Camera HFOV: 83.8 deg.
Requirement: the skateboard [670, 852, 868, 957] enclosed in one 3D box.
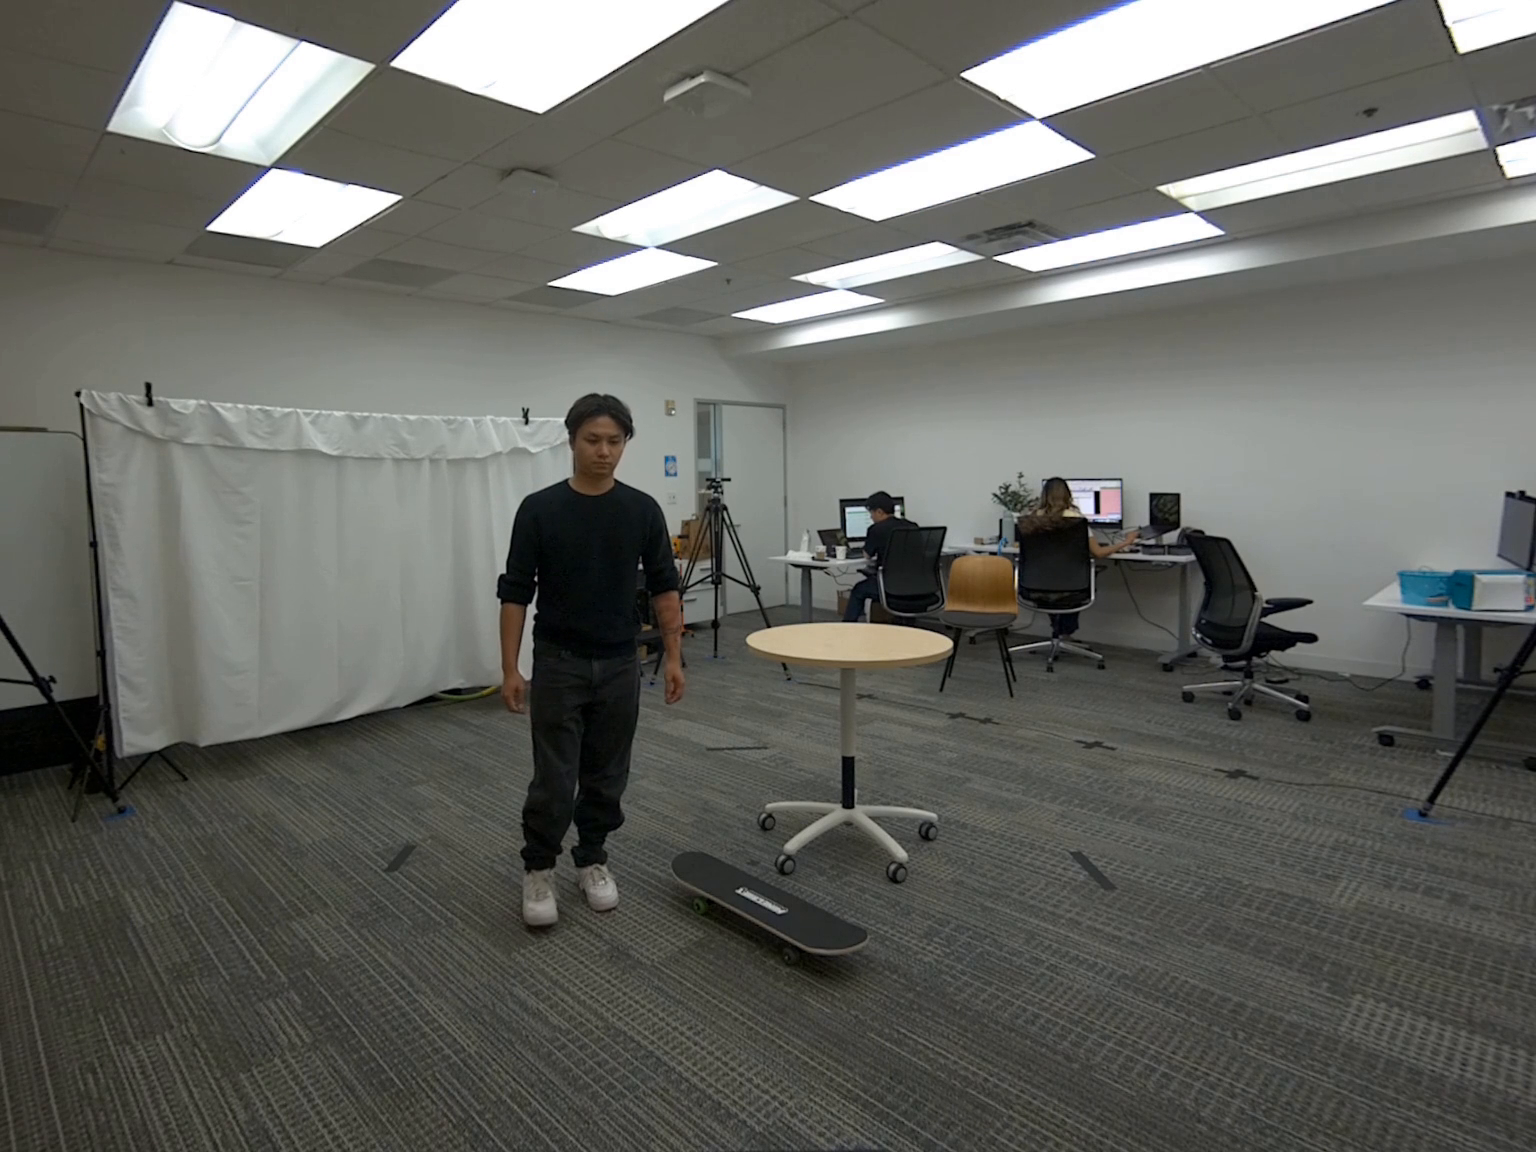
[{"bbox_3d":[-0.022,1.040,2.646,0.188,0.110,0.810,-7,9,-43],"label":"skateboard"}]
